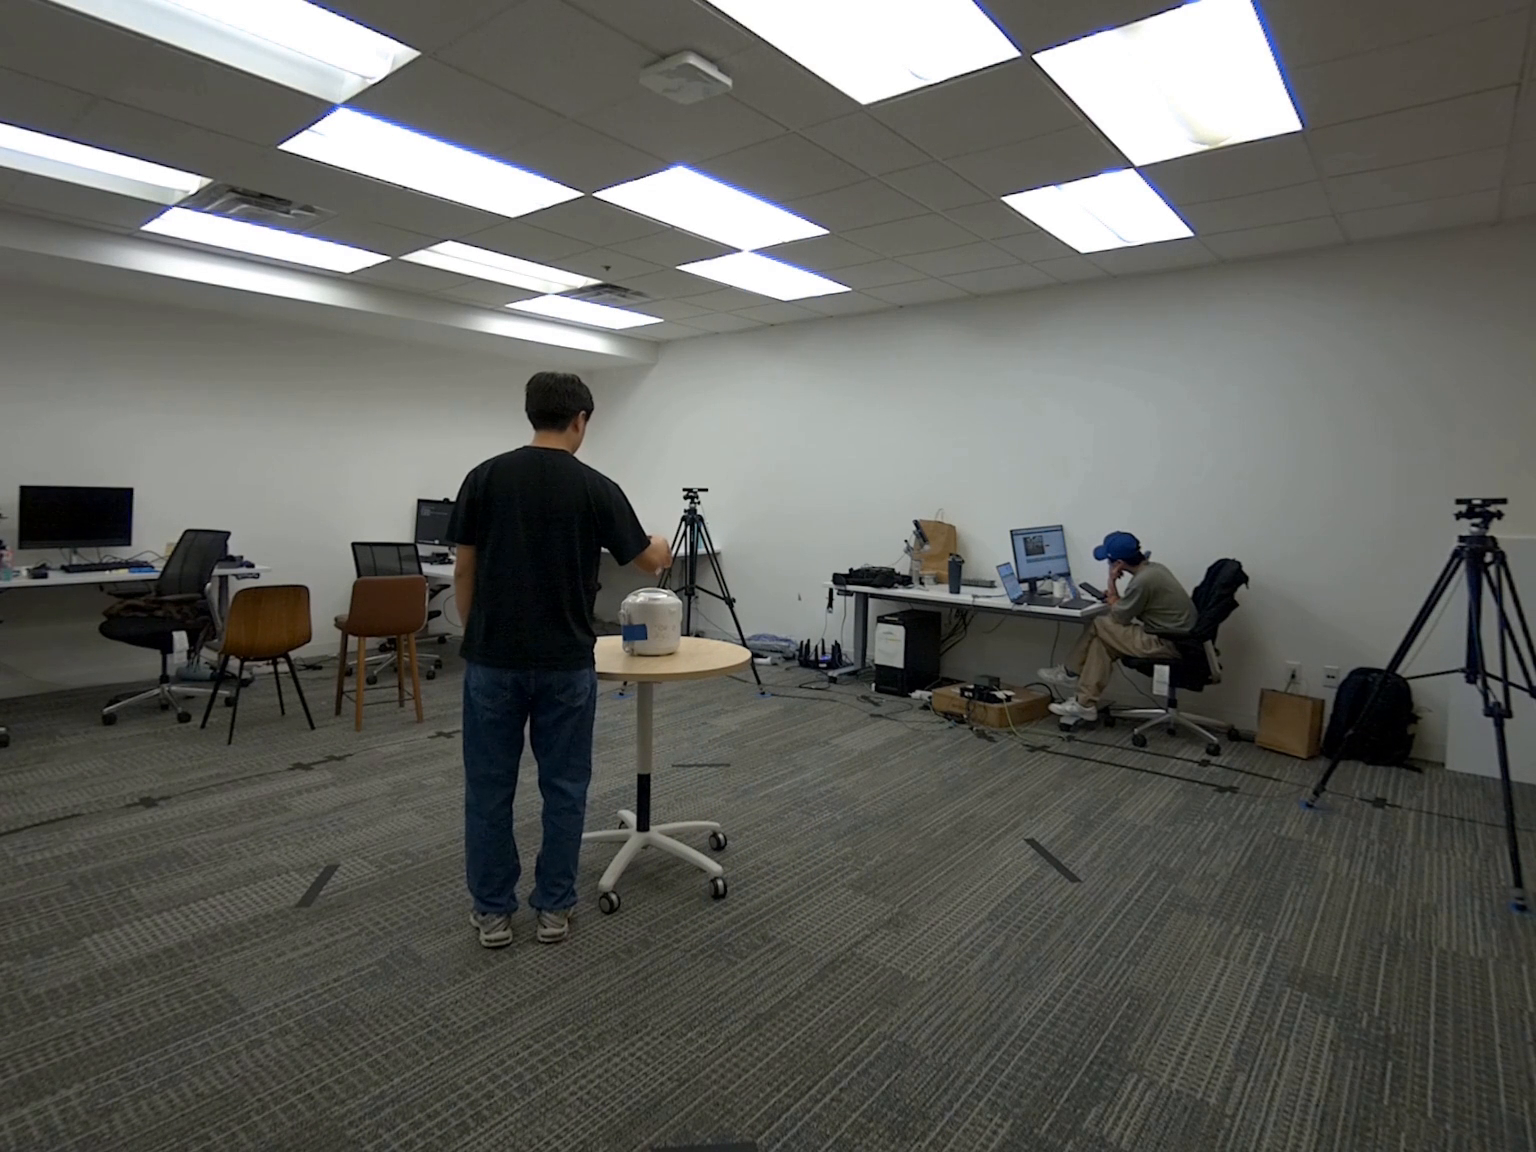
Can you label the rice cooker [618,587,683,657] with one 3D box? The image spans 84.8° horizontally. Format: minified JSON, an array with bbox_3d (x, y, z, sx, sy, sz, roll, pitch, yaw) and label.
[{"bbox_3d":[-0.430,0.156,3.079,0.221,0.232,0.218,1,4,1],"label":"rice cooker"}]
